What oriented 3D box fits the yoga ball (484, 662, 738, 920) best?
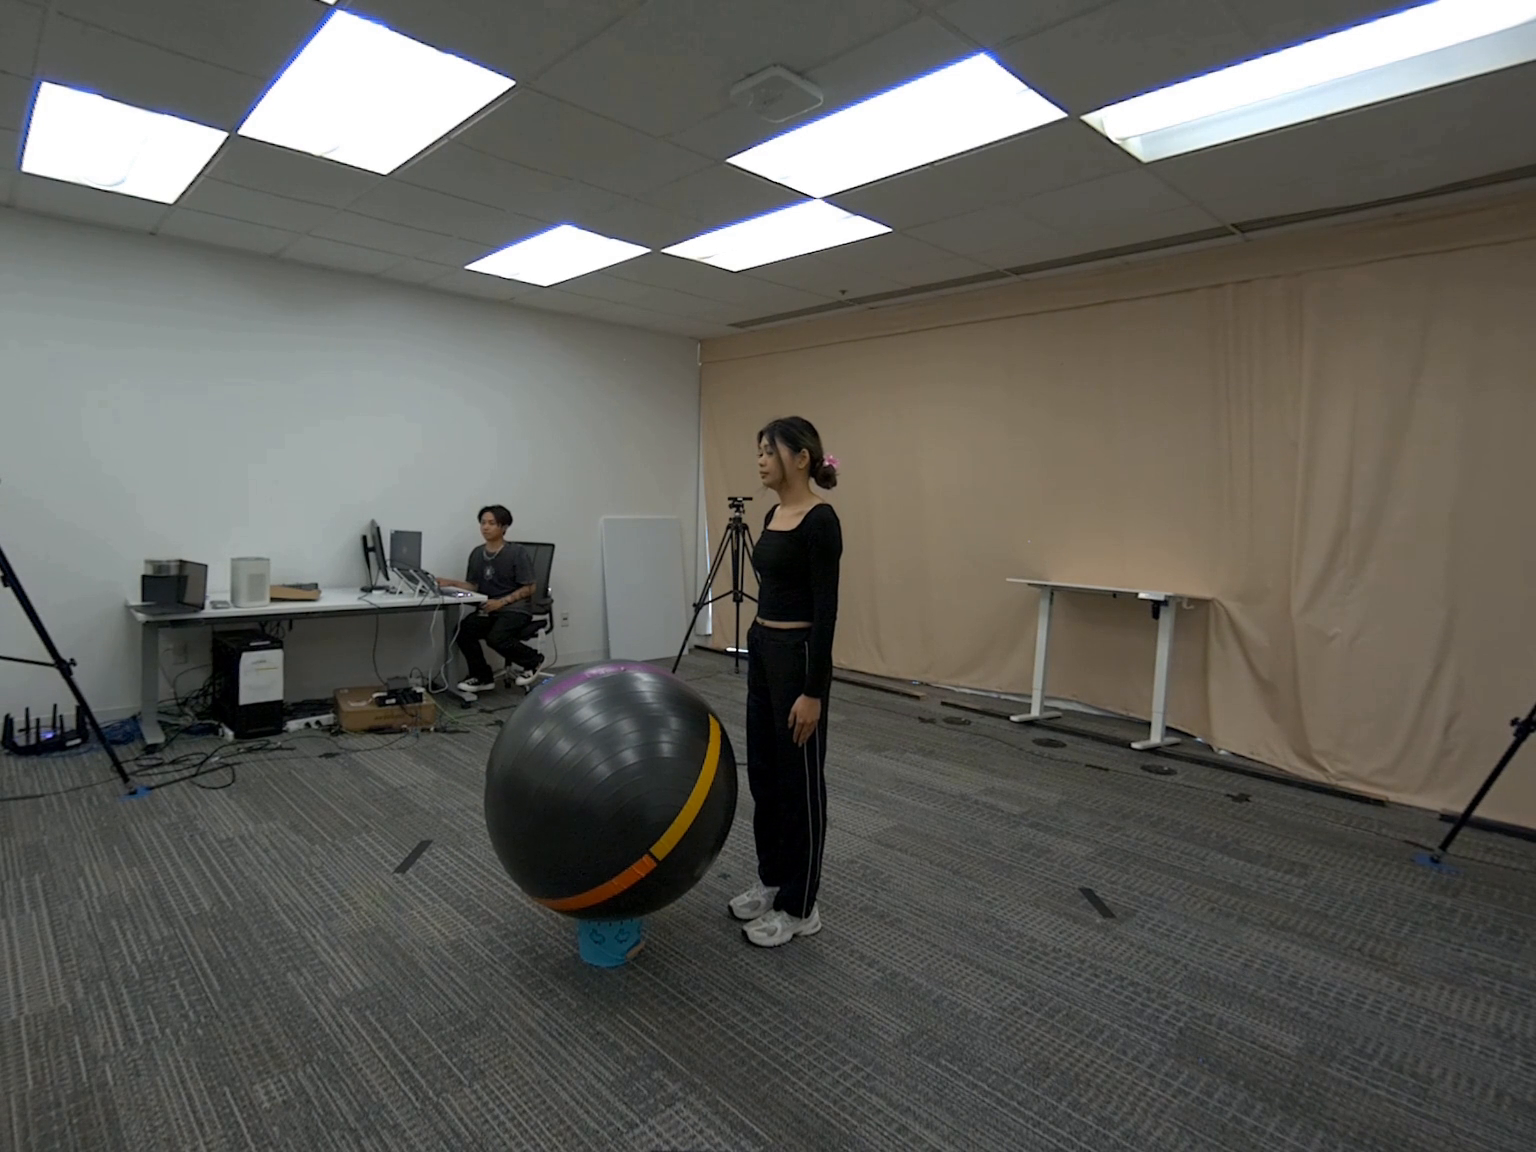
[{"bbox_3d":[-0.479,0.638,2.551,0.757,0.756,0.761,1,4,-1],"label":"yoga ball"}]
